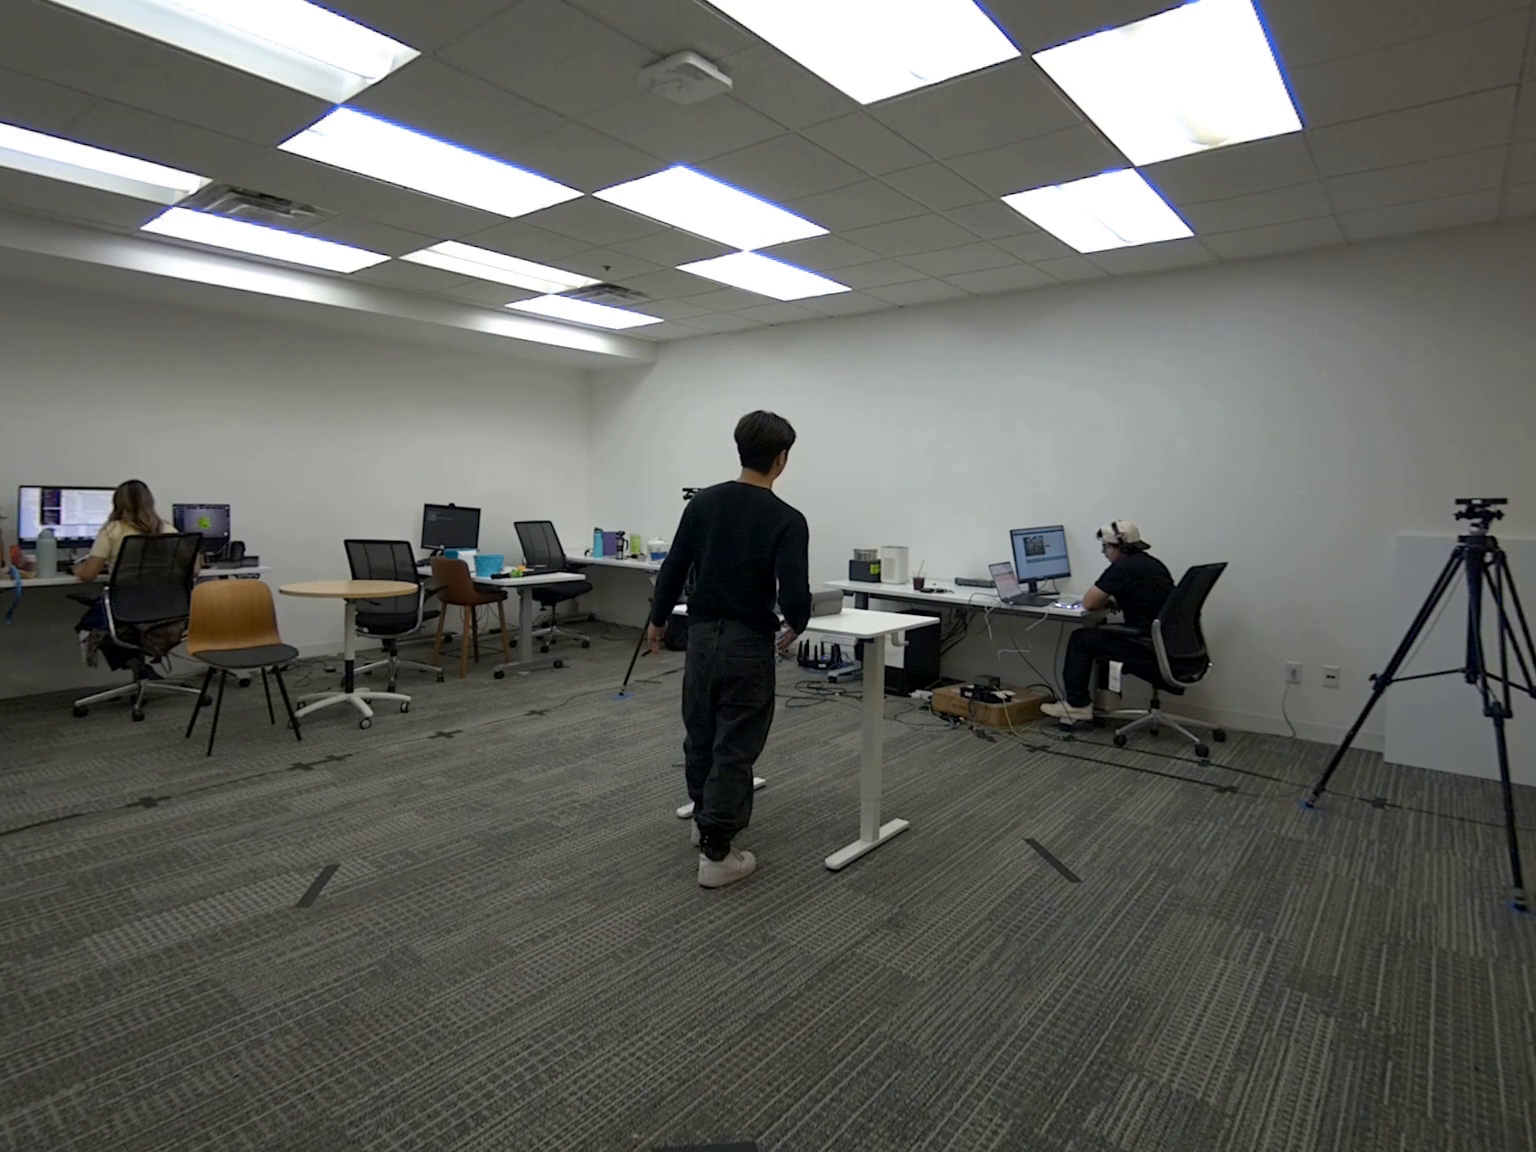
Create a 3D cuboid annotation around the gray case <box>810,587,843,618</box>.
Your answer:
[{"bbox_3d":[0.146,0.098,3.562,0.253,0.104,0.266,-4,8,-45],"label":"gray case"}]
